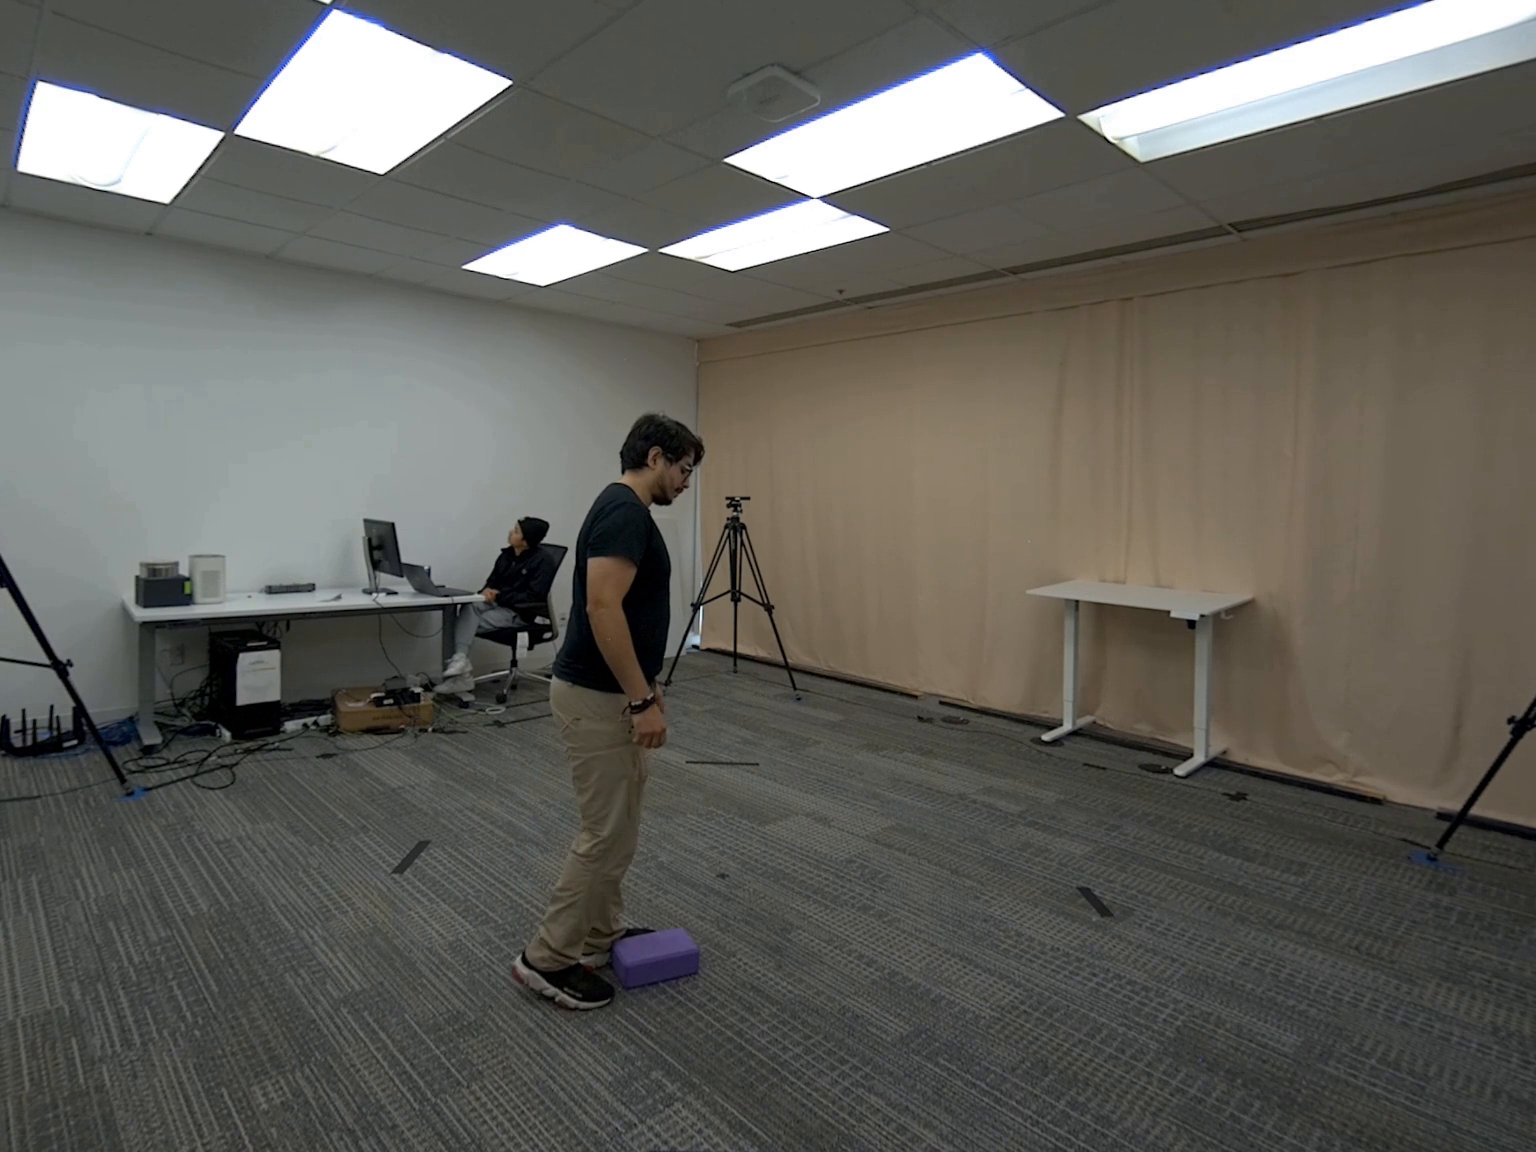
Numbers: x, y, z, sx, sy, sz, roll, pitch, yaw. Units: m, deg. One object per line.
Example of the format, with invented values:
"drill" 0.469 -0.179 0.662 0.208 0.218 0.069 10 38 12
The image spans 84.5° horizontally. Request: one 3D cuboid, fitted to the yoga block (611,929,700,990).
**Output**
"yoga block" -0.333 1.121 2.468 0.225 0.076 0.152 -1 5 -26
